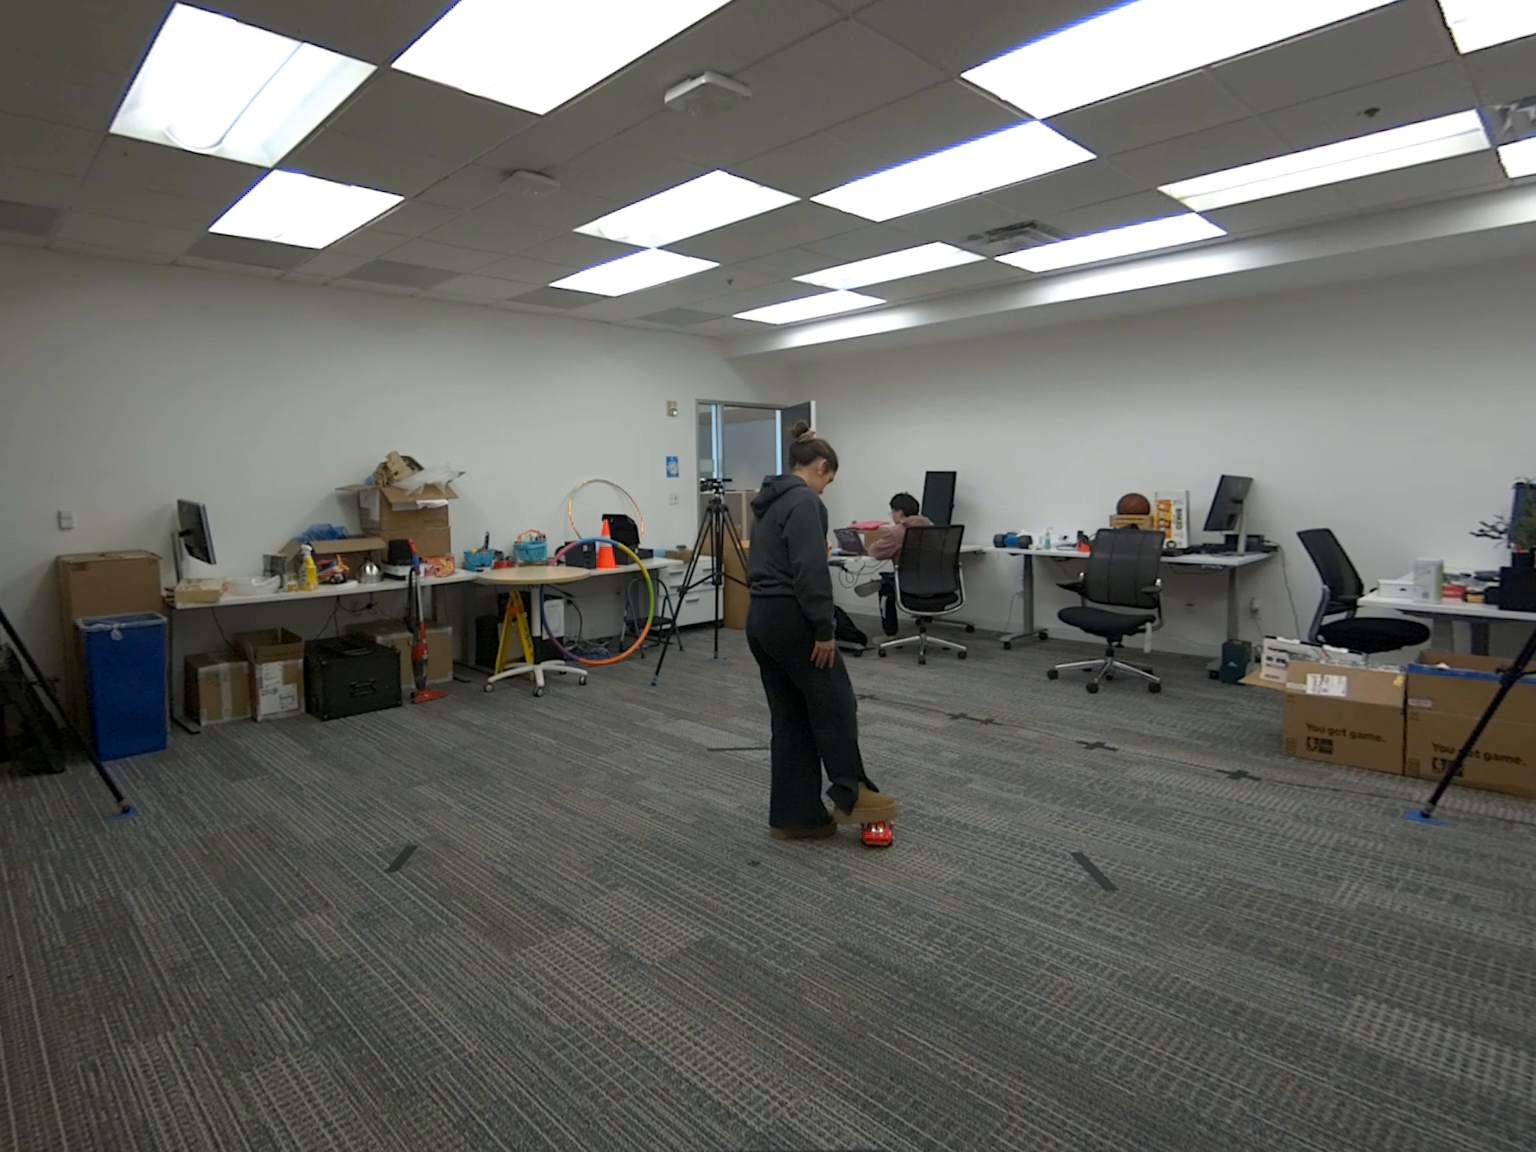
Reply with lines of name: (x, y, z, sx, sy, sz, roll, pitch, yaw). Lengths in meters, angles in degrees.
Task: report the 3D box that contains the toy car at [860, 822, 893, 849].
toy car: (0.420, 0.987, 3.280, 0.131, 0.084, 0.250, -1, -6, 9)
